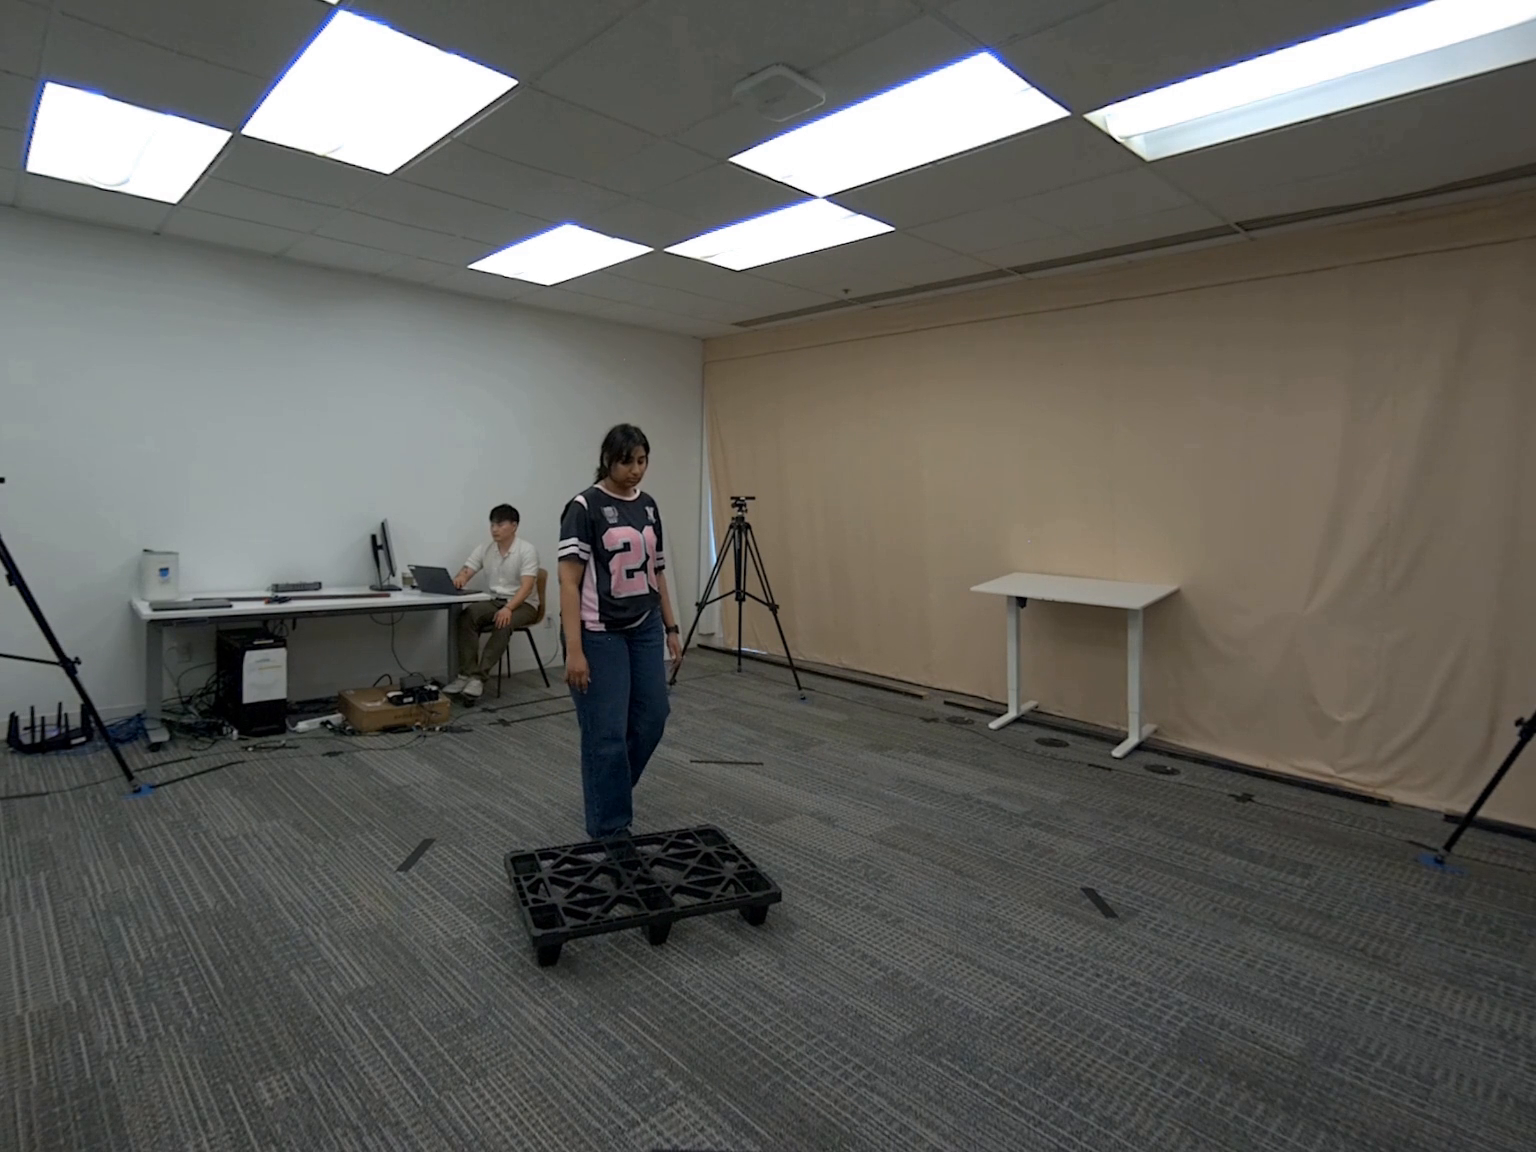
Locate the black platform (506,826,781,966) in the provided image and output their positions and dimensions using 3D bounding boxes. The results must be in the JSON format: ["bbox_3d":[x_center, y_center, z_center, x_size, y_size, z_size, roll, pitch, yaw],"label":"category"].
[{"bbox_3d":[-0.439,1.058,2.817,0.792,0.143,0.618,-1,7,-24],"label":"black platform"}]
